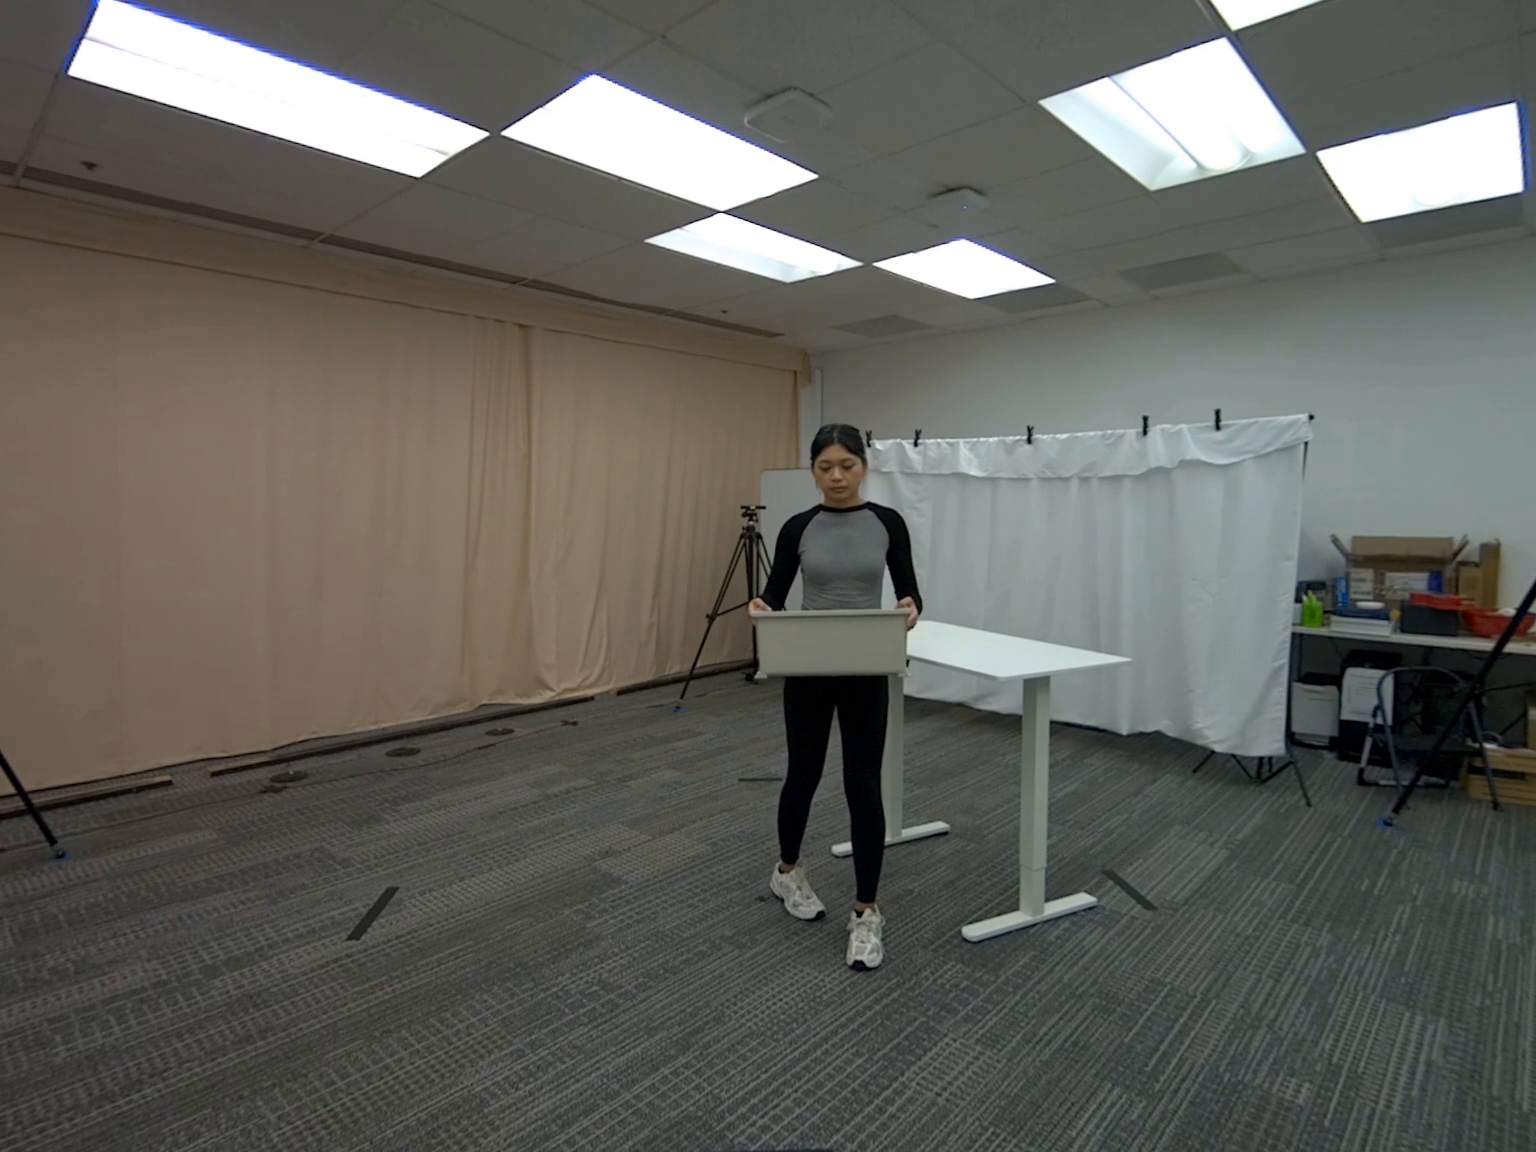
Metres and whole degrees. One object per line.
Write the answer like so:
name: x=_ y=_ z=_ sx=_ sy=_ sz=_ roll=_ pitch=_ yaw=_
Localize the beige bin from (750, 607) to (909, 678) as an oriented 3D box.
beige bin: x=0.186 y=0.180 z=2.411 sx=0.427 sy=0.188 sz=0.374 roll=0 pitch=5 yaw=8
